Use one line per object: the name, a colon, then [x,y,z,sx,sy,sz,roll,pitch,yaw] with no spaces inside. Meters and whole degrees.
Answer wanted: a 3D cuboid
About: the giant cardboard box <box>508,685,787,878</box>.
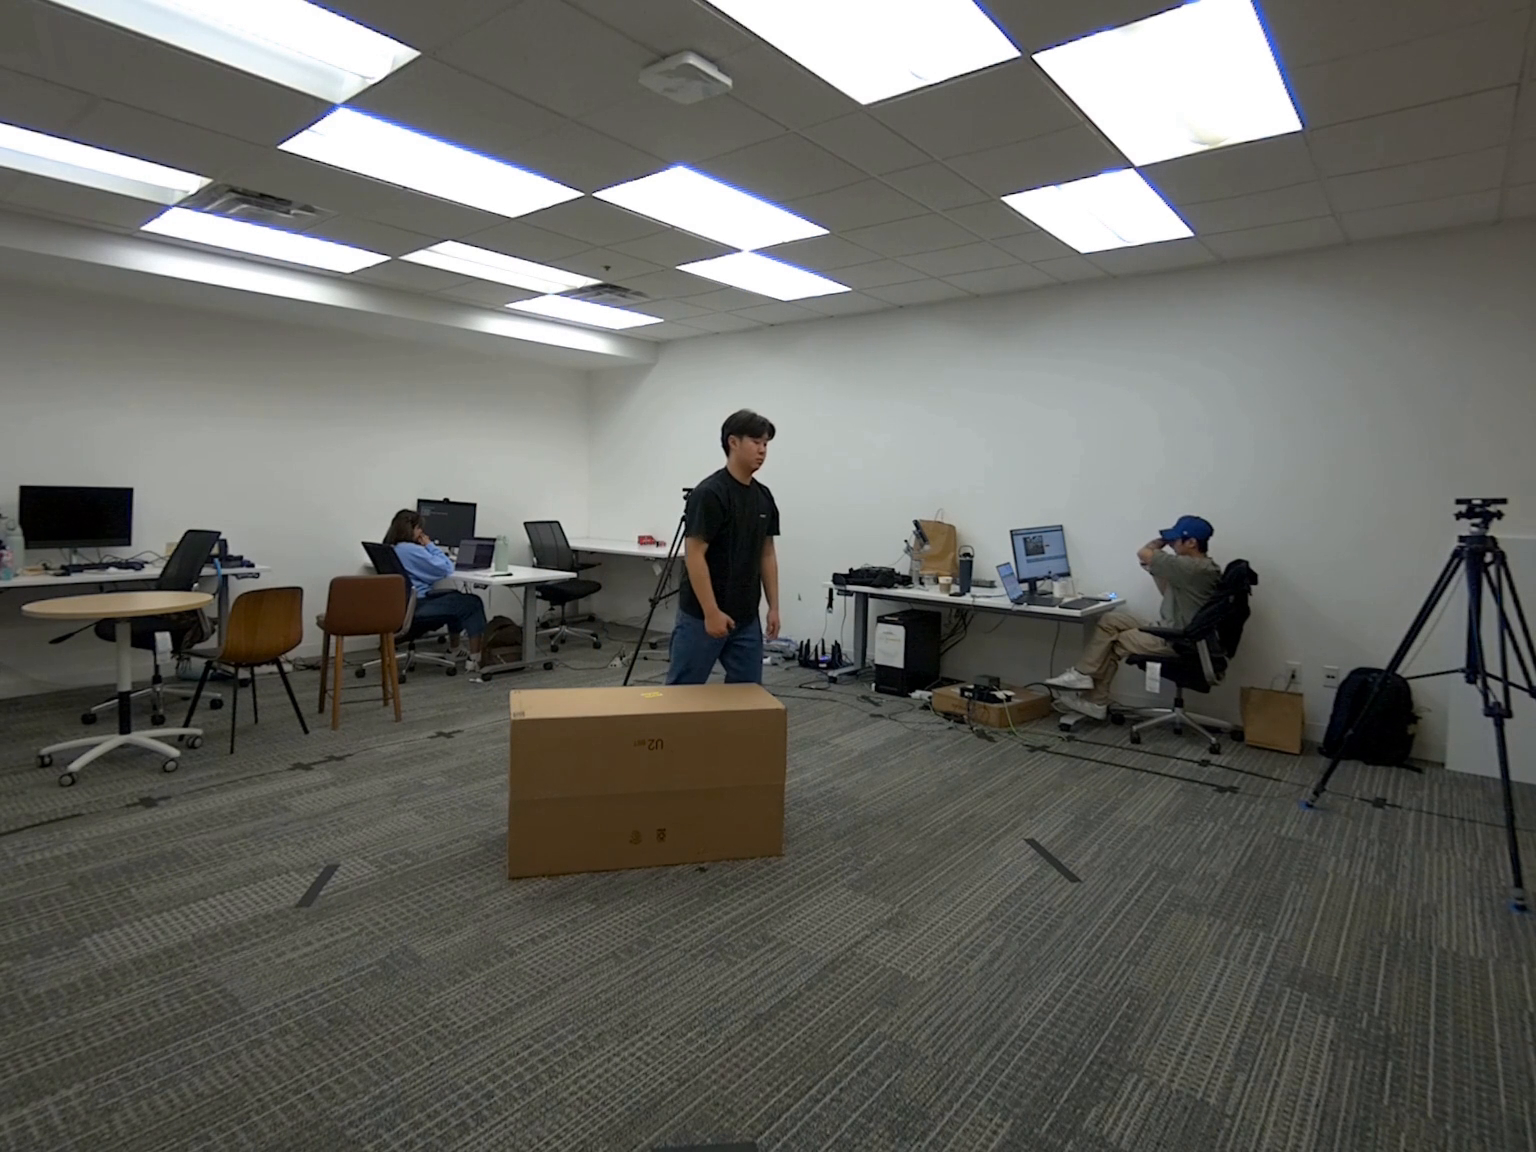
giant cardboard box: [-0.495,0.758,3.305,1.011,0.583,0.455,0,3,-15]
